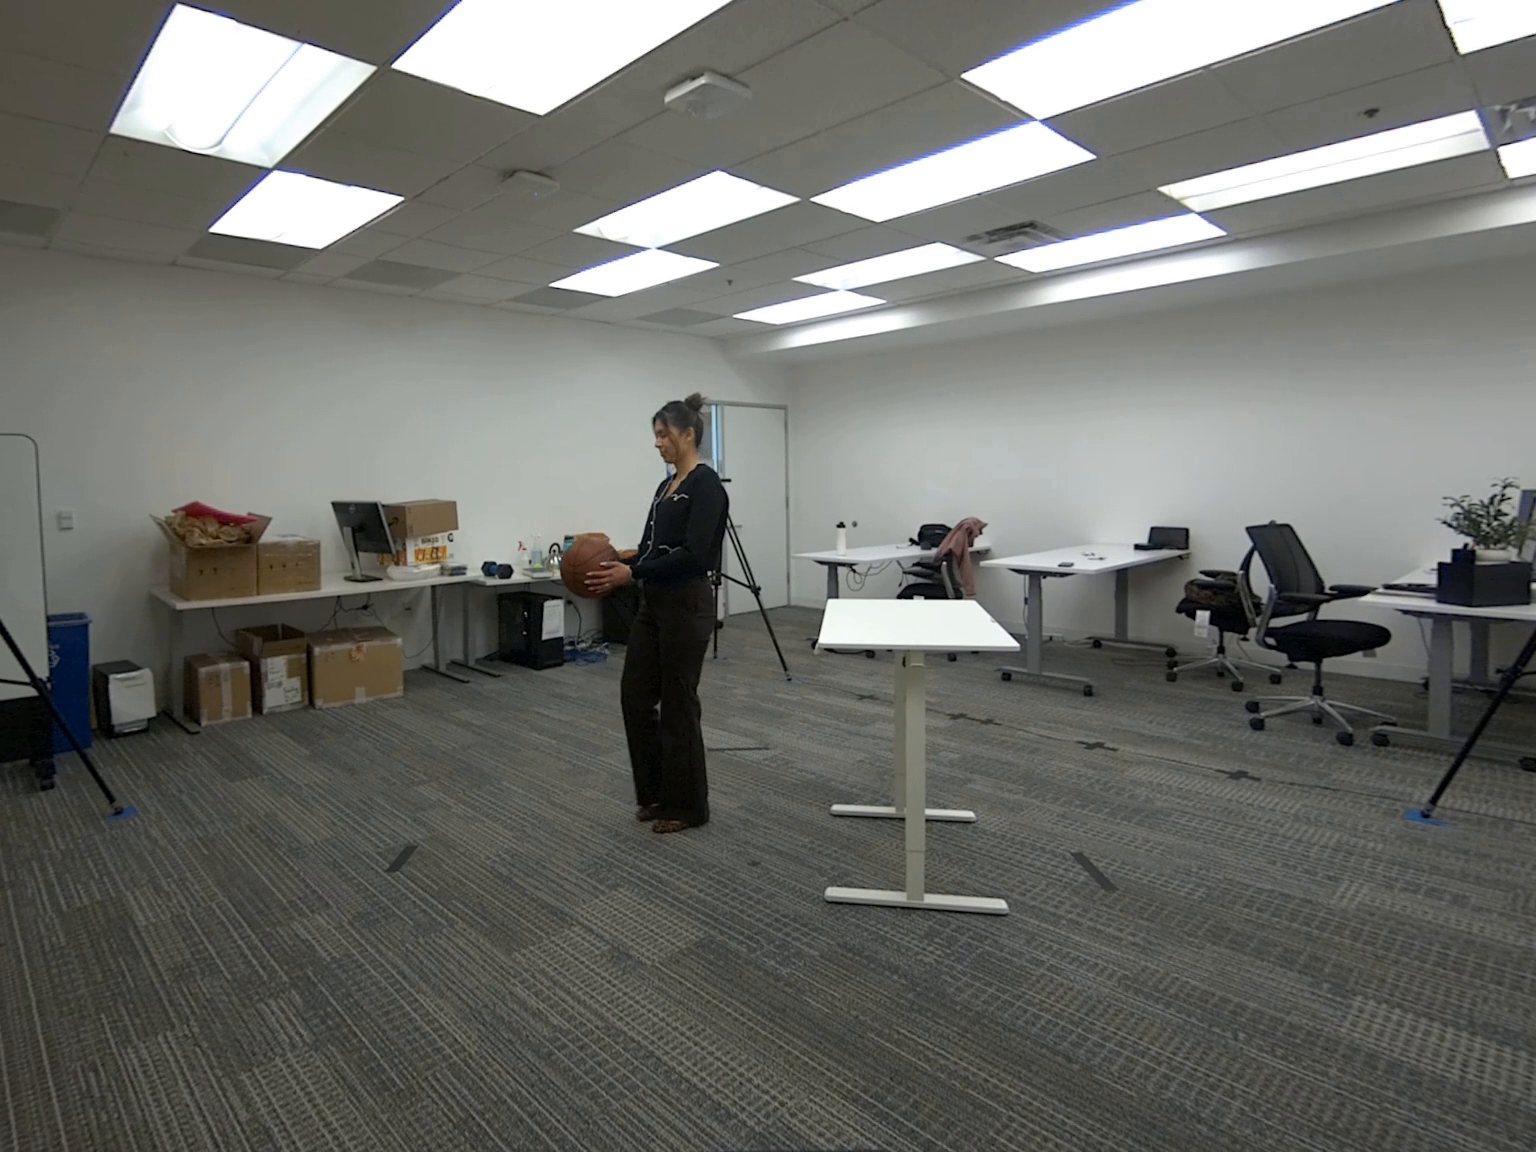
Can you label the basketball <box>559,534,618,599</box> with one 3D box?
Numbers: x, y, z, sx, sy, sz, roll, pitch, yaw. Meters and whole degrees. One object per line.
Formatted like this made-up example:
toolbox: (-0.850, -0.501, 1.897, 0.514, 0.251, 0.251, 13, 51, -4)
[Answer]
basketball: (-0.676, -0.026, 3.276, 0.236, 0.235, 0.237, -1, 5, -2)
